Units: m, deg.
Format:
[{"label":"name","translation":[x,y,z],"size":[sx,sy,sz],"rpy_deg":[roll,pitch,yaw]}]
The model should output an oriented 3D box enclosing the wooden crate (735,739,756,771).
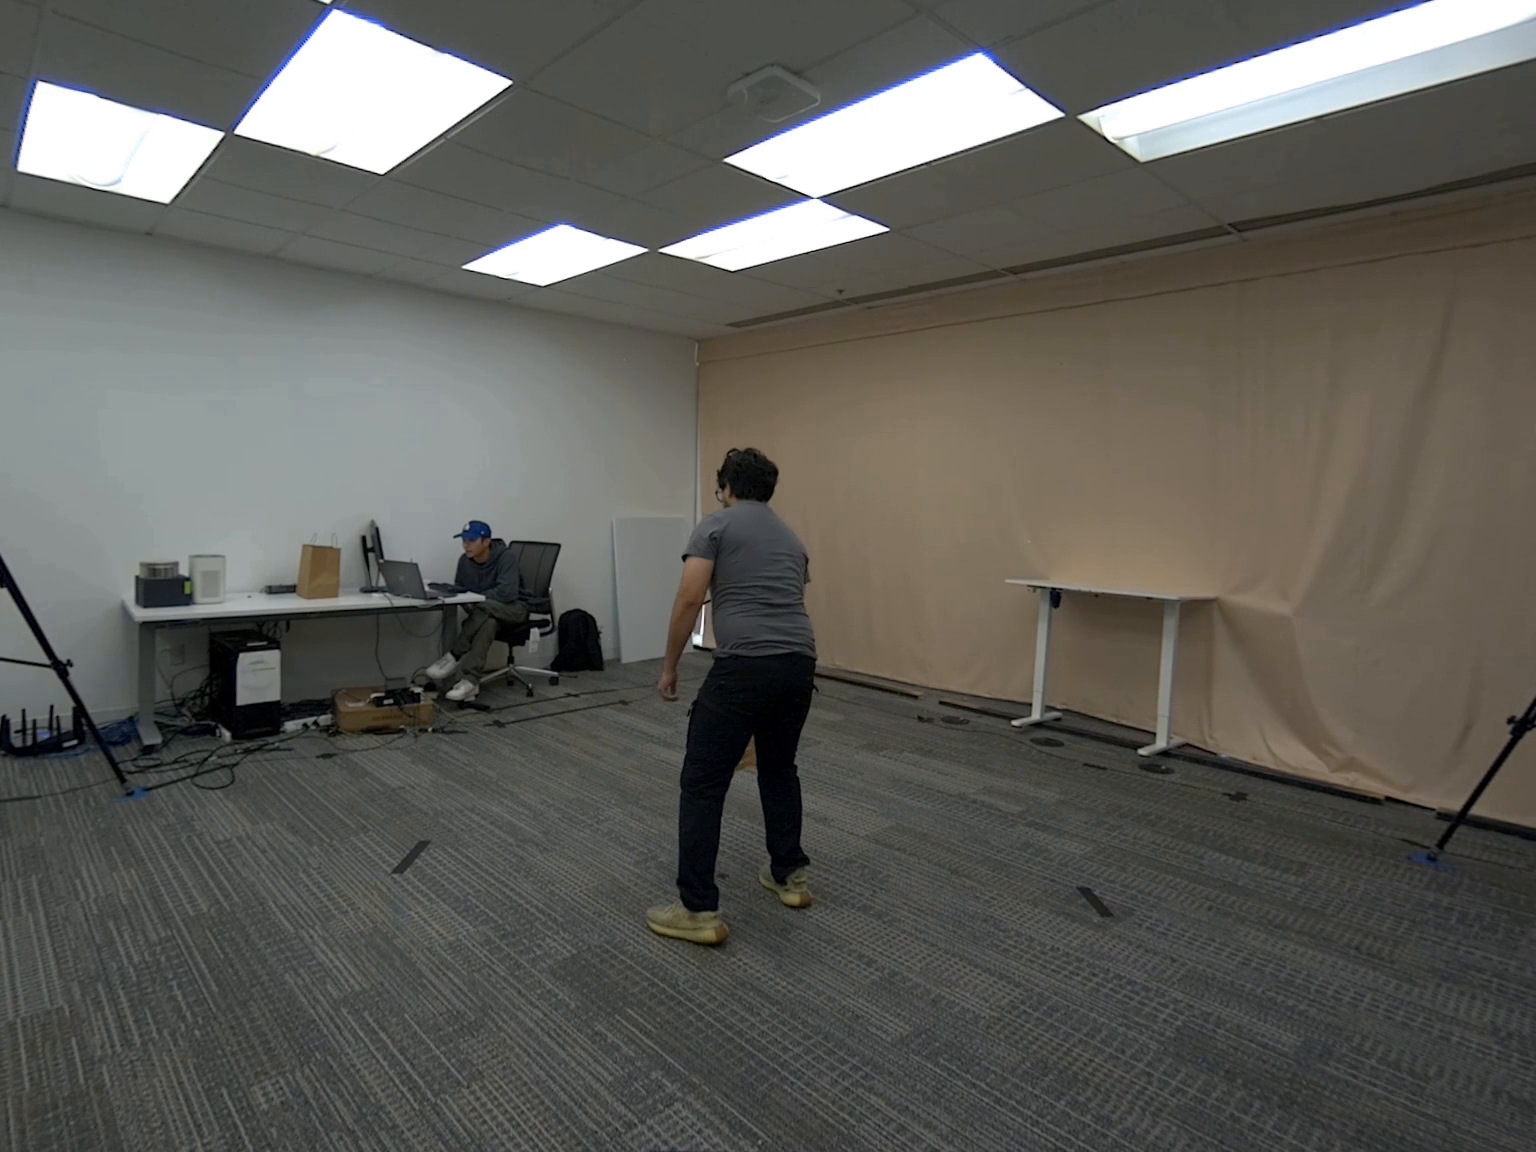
[{"label":"wooden crate","translation":[-0.147,0.602,3.274],"size":[0.308,0.273,0.318],"rpy_deg":[-7,1,41]}]
